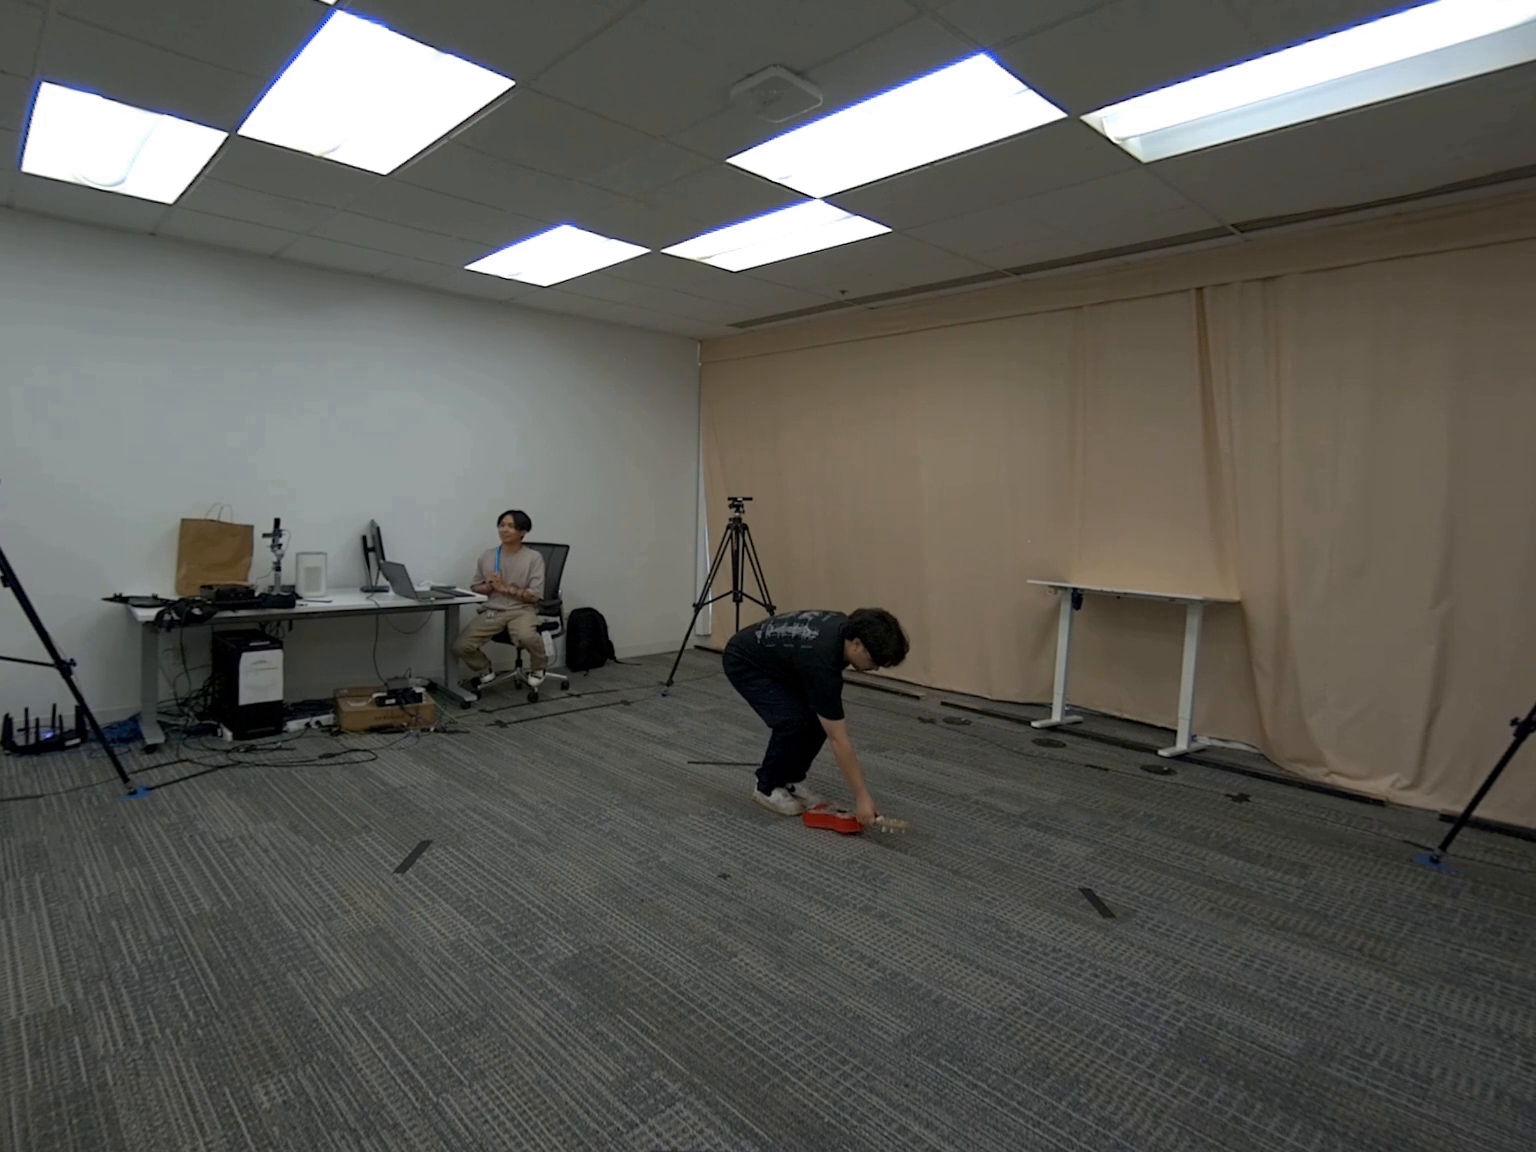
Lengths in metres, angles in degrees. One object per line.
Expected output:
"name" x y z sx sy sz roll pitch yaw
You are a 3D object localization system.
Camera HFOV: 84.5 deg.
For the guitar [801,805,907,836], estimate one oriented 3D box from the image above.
"guitar" 0.336 1.023 3.521 0.188 0.071 0.508 0 -1 -37
